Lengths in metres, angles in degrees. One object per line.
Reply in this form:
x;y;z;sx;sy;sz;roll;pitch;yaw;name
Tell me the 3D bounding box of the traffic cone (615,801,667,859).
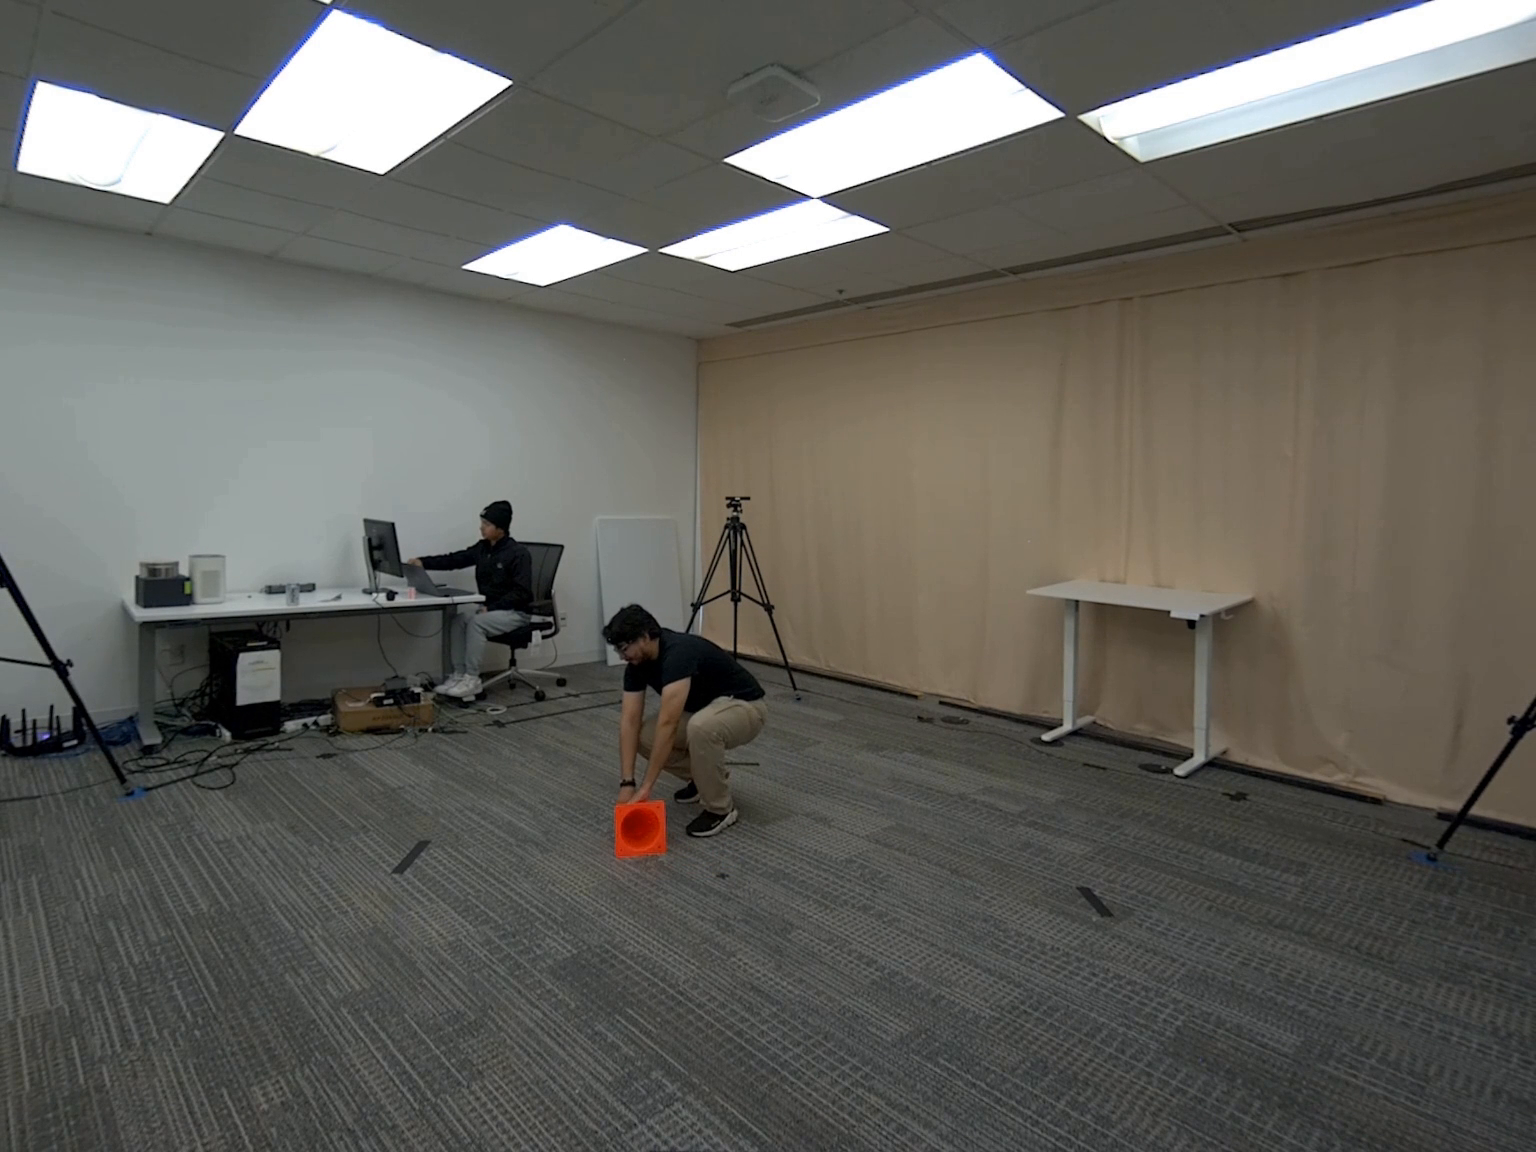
-0.568;1.013;3.464;0.200;0.206;0.387;2;-6;-18;traffic cone
